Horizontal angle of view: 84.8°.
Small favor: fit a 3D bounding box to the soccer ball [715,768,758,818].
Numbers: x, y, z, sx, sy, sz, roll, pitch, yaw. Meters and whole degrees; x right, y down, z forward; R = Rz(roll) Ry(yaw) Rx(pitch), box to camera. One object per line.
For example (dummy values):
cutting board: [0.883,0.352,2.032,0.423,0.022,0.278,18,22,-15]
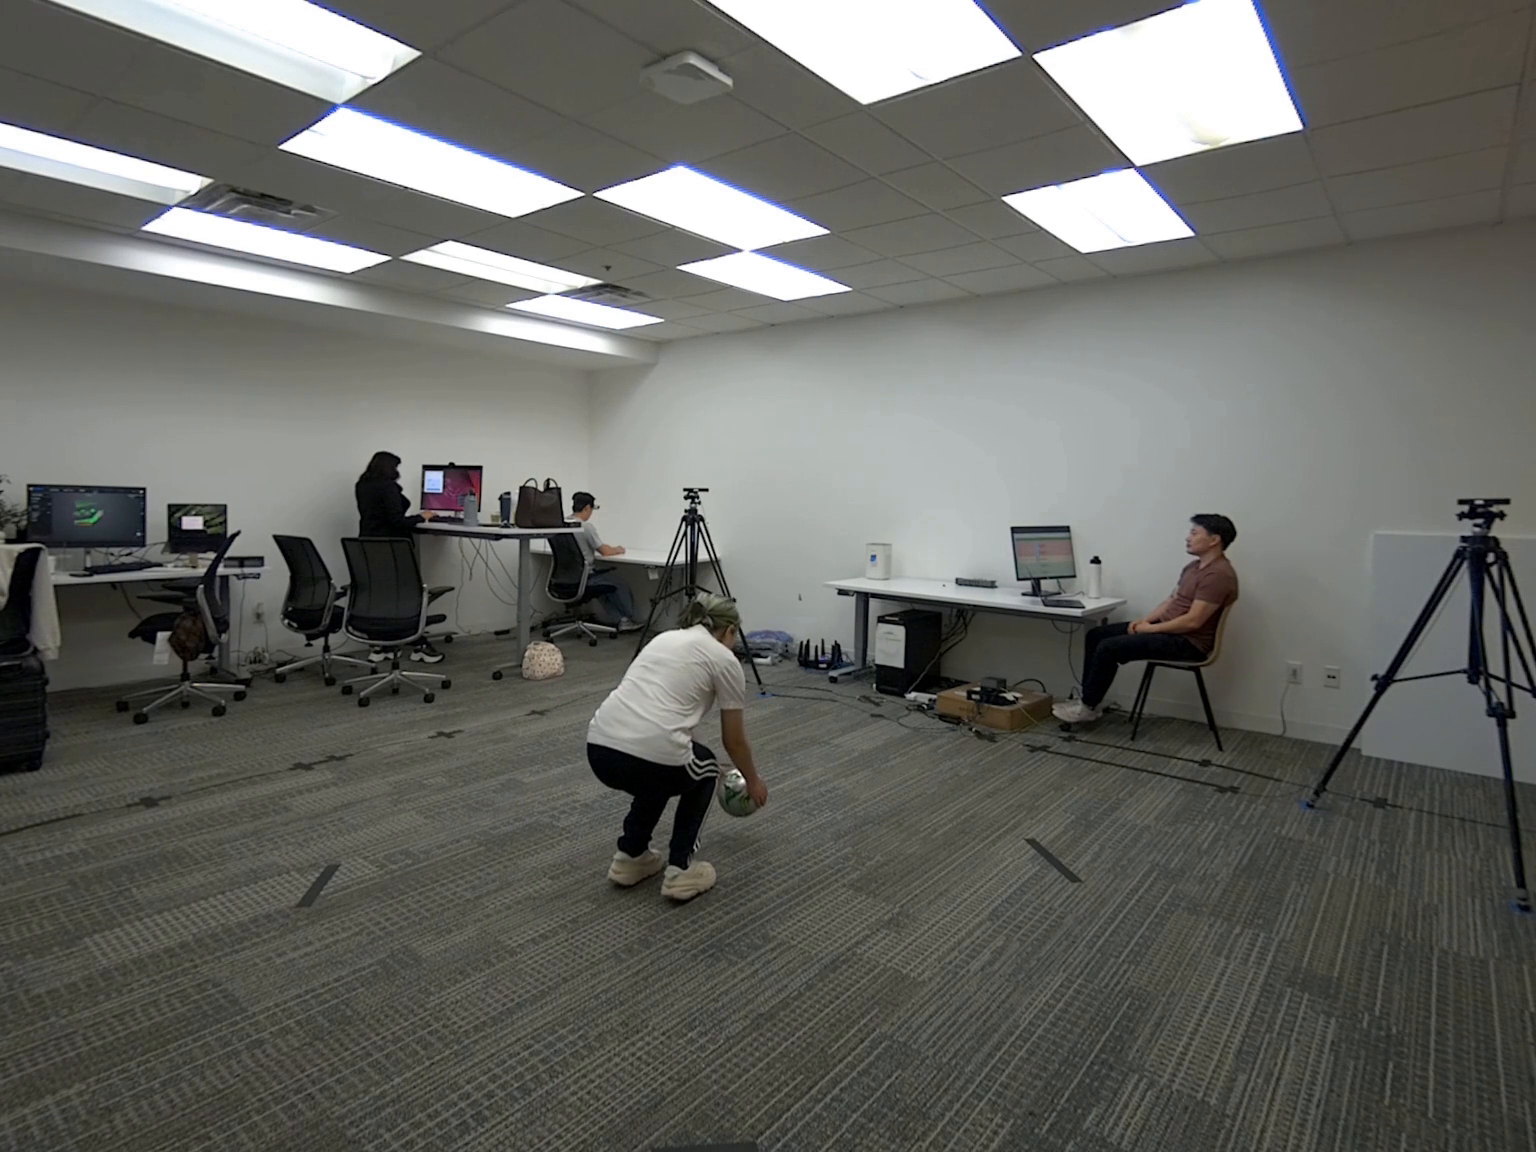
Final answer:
soccer ball: [-0.116,0.844,3.373,0.187,0.187,0.188,1,4,-2]
